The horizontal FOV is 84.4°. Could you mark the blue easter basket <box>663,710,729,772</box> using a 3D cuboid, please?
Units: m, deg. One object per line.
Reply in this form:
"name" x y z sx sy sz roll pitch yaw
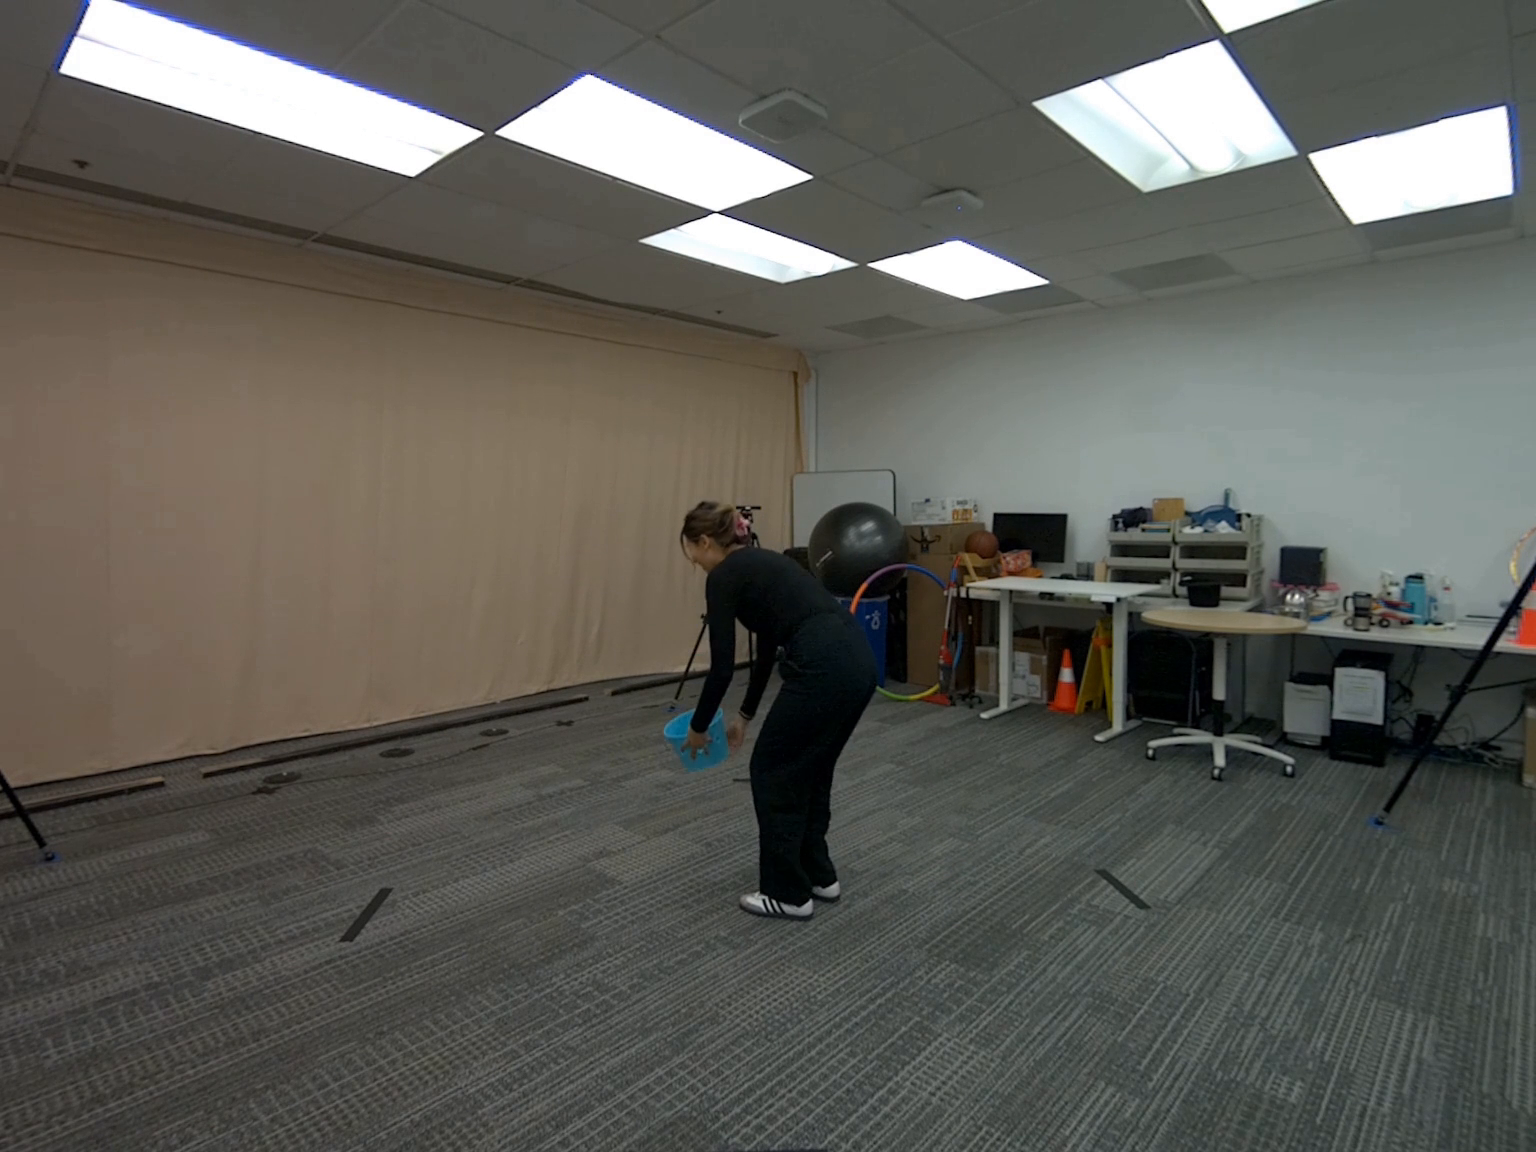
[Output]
"blue easter basket" -0.246 0.602 3.113 0.244 0.154 0.246 -17 13 2
